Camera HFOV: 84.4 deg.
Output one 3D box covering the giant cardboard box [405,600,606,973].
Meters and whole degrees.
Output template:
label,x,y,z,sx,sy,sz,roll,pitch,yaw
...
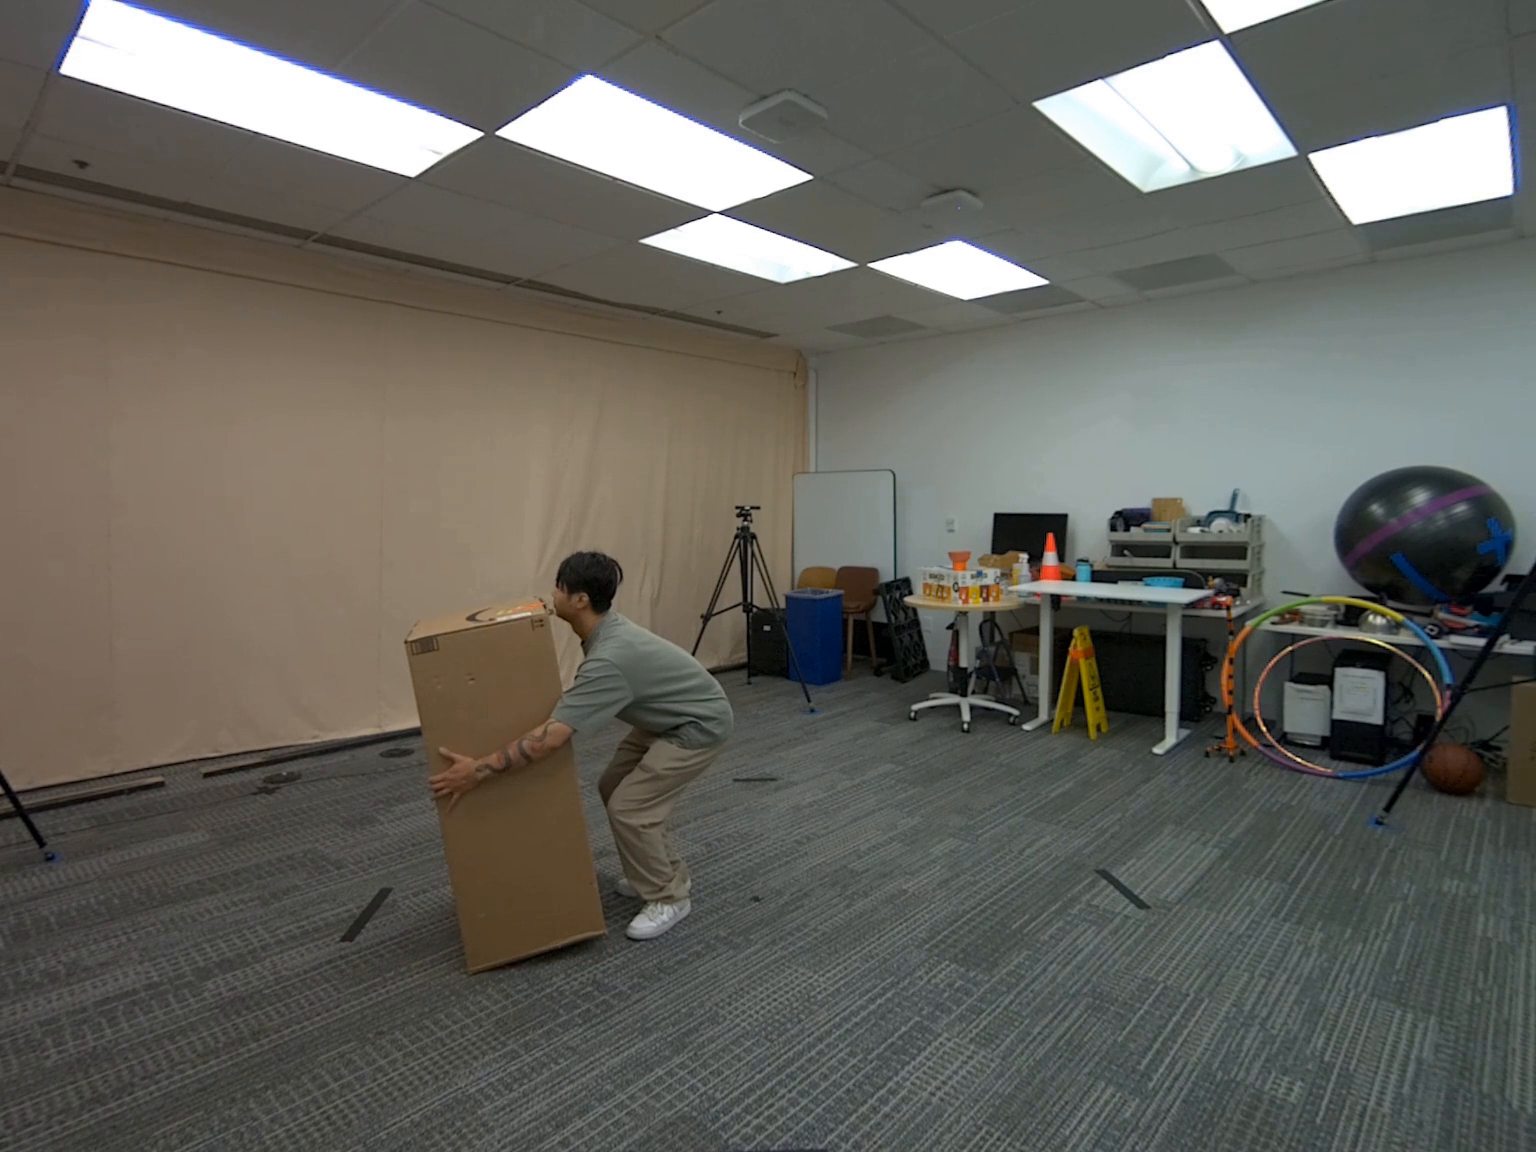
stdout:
label,x,y,z,sx,sy,sz,roll,pitch,yaw
giant cardboard box,-0.887,0.641,2.800,0.420,1.022,0.589,-12,5,-18
